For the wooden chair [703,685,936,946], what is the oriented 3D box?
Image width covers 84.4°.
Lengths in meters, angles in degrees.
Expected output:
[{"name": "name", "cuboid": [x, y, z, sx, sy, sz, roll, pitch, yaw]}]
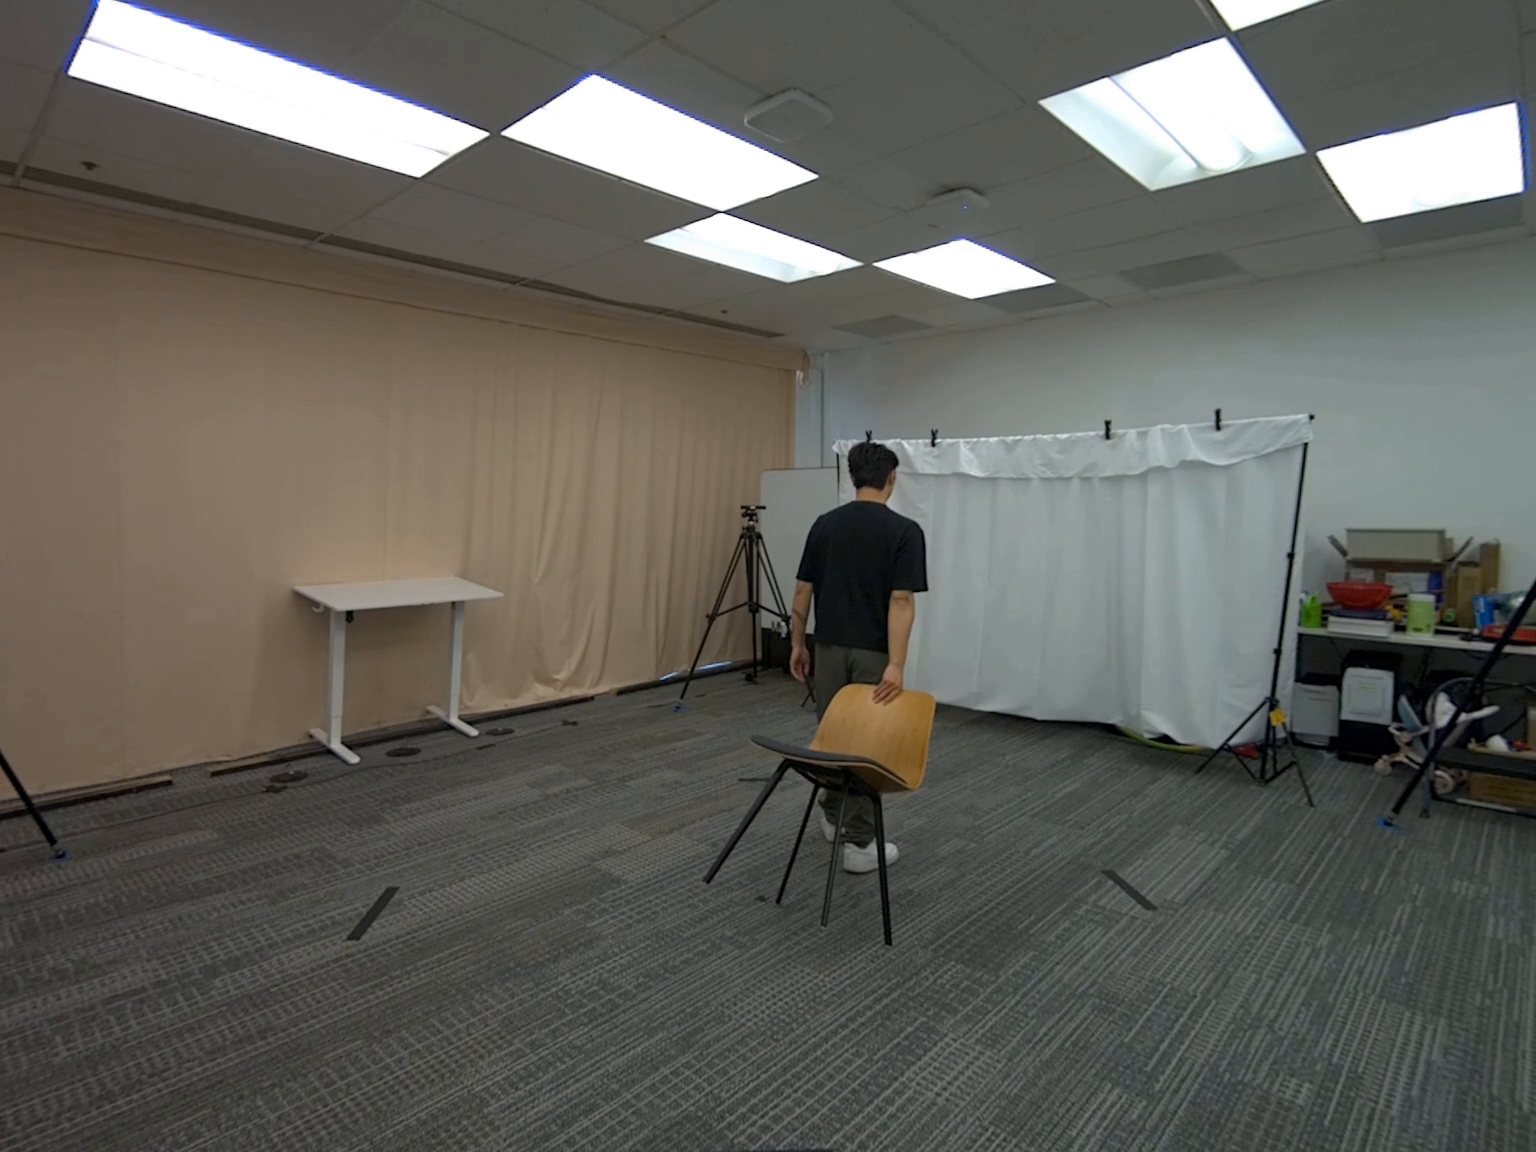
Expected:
[{"name": "wooden chair", "cuboid": [0.214, 0.670, 2.765, 0.494, 0.880, 0.504, 3, -28, 39]}]
